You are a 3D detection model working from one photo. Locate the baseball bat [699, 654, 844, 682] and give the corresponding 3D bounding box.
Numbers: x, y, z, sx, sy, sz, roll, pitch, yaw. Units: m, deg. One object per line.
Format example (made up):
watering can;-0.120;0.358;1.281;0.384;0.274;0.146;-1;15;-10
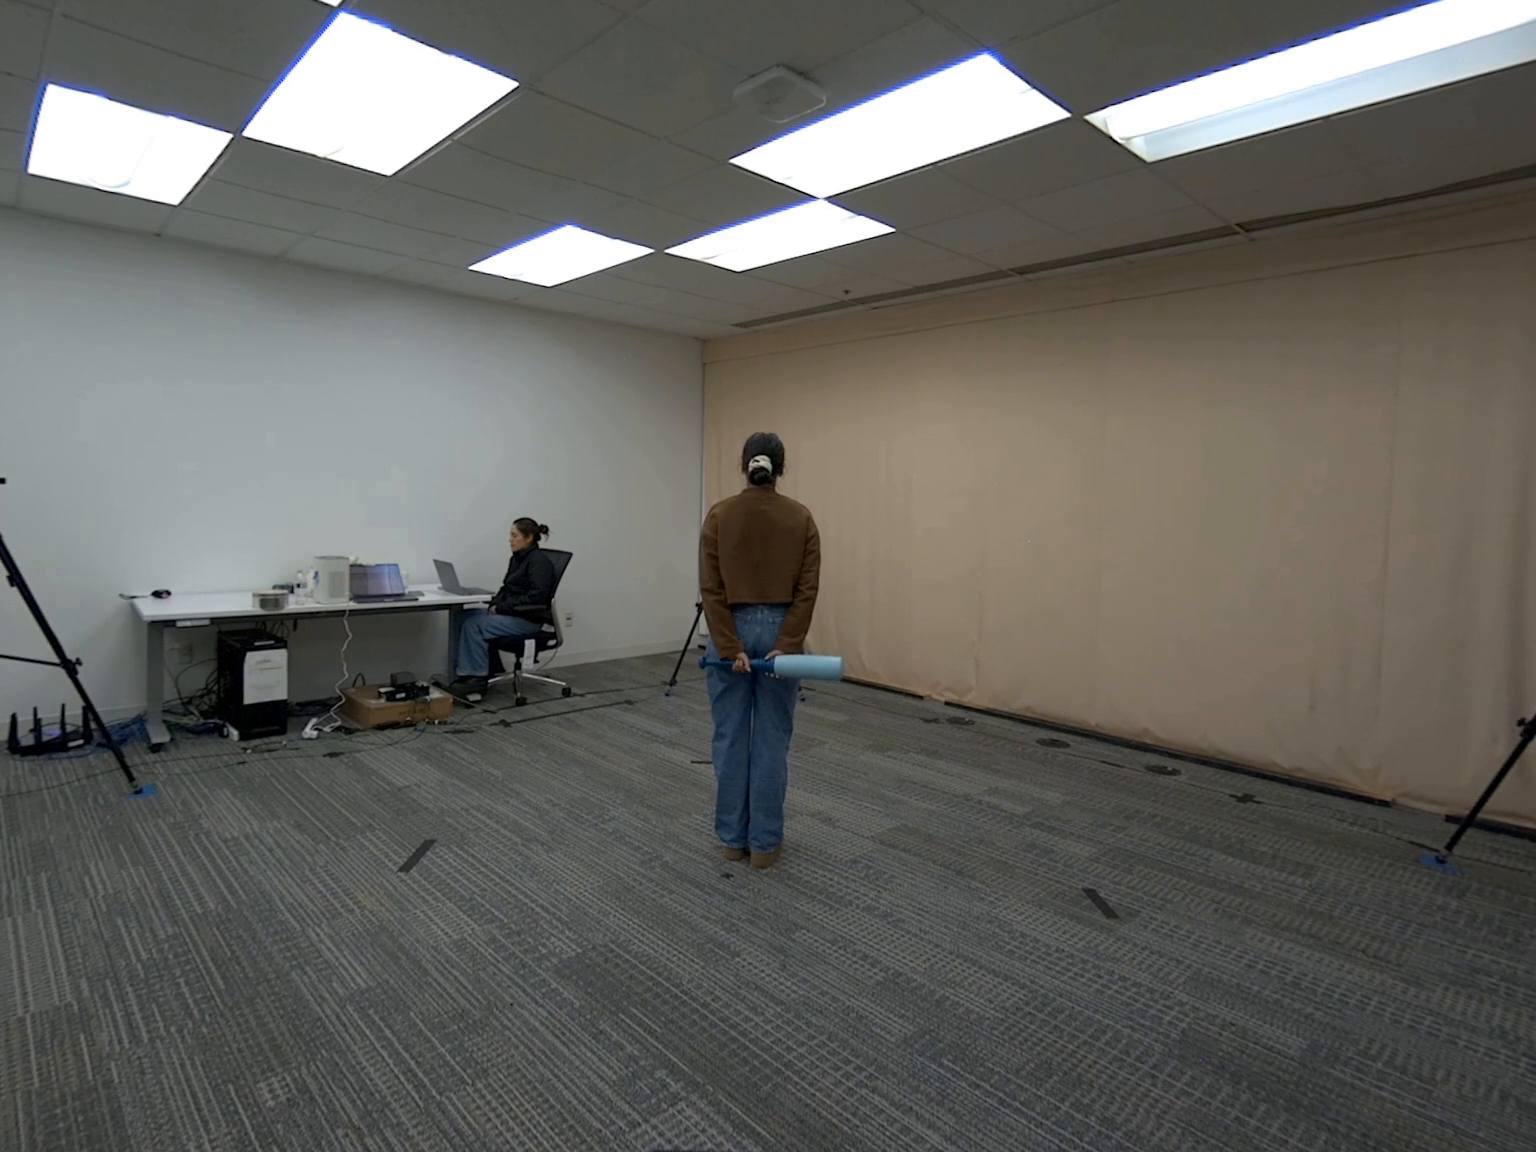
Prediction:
baseball bat;-0.013;0.347;3.121;0.548;0.089;0.088;2;4;12
